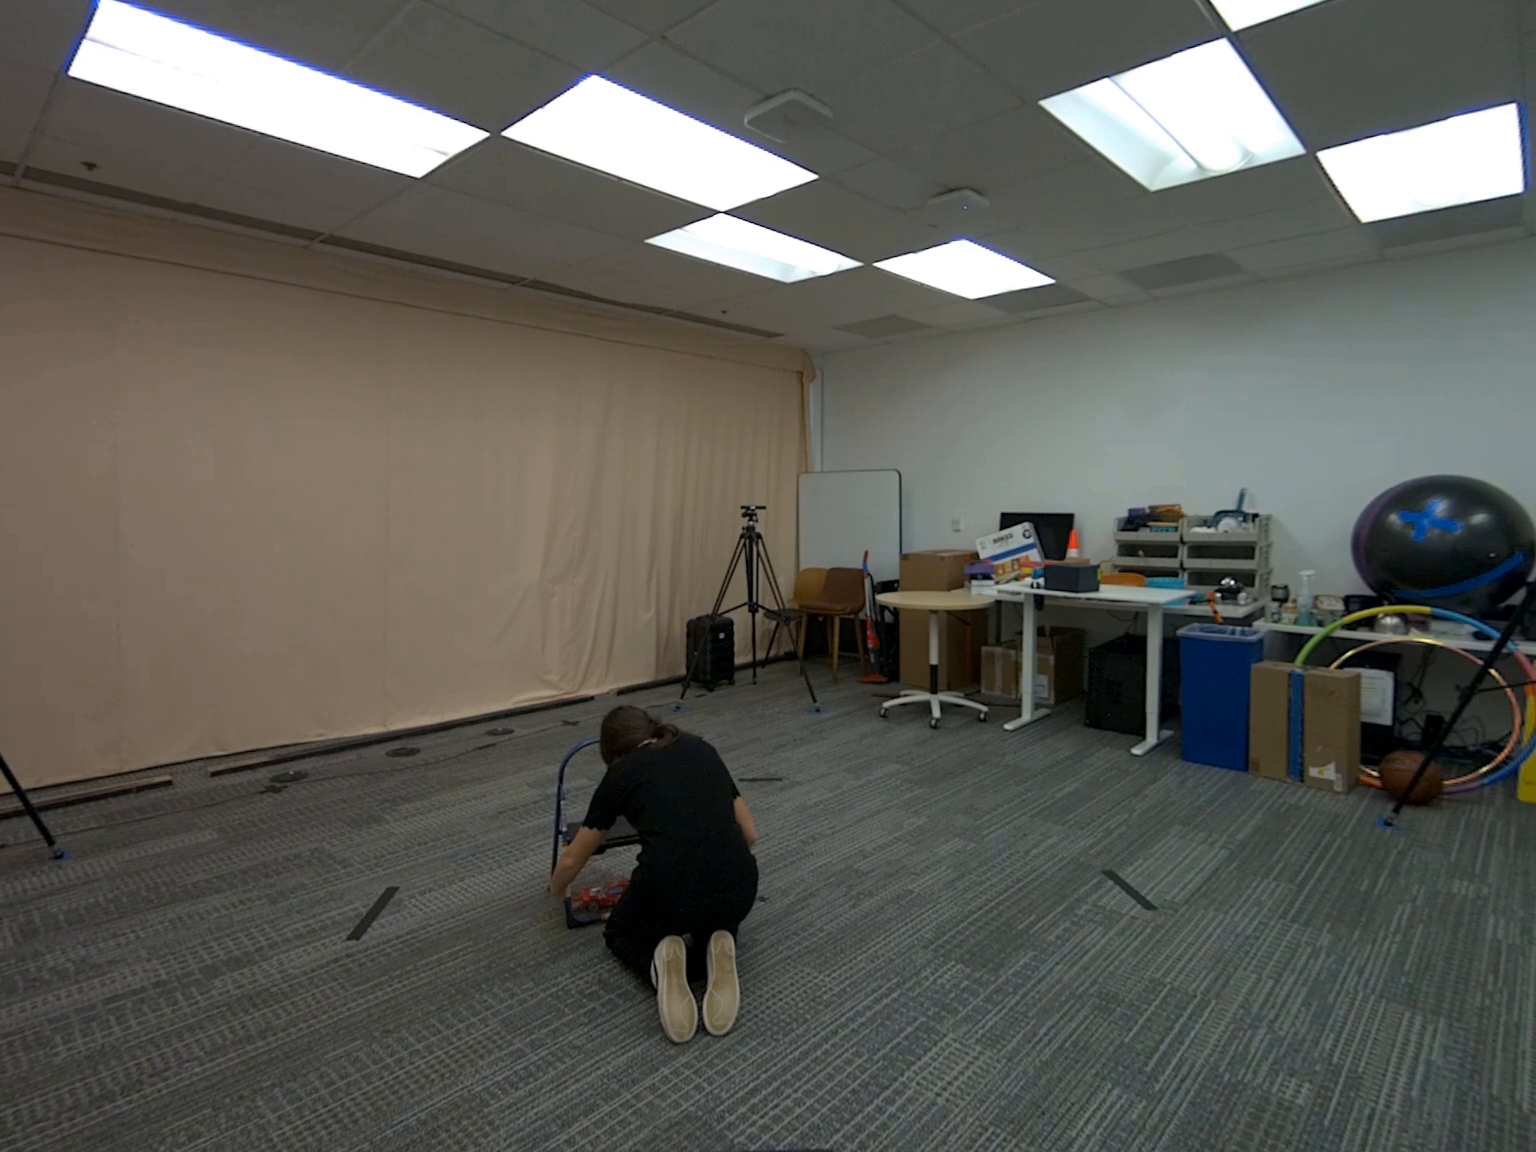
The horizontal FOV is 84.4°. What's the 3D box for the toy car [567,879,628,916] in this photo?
[{"bbox_3d":[-0.533,1.129,2.968,0.251,0.083,0.133,-11,6,-16],"label":"toy car"}]
